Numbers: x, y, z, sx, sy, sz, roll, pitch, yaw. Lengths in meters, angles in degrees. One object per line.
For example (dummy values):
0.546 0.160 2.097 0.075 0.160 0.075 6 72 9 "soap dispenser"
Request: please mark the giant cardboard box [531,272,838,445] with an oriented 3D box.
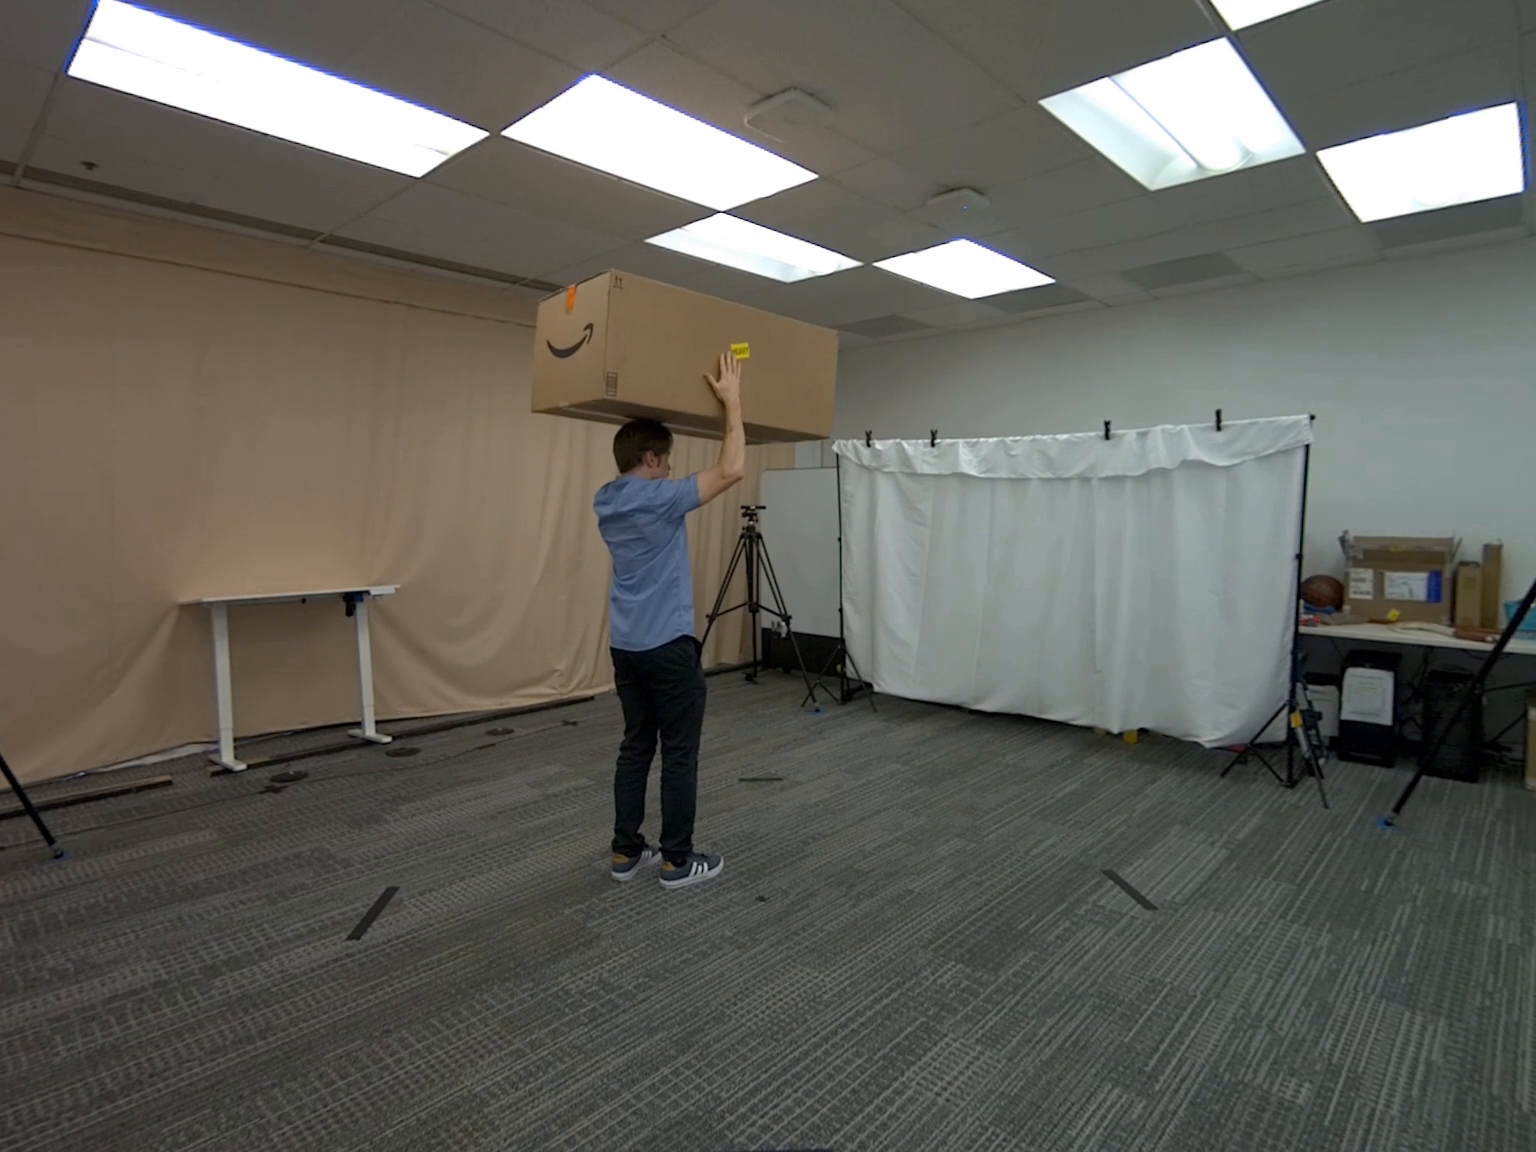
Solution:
-0.301 -0.788 3.245 0.993 0.426 0.596 3 2 -37 "giant cardboard box"
